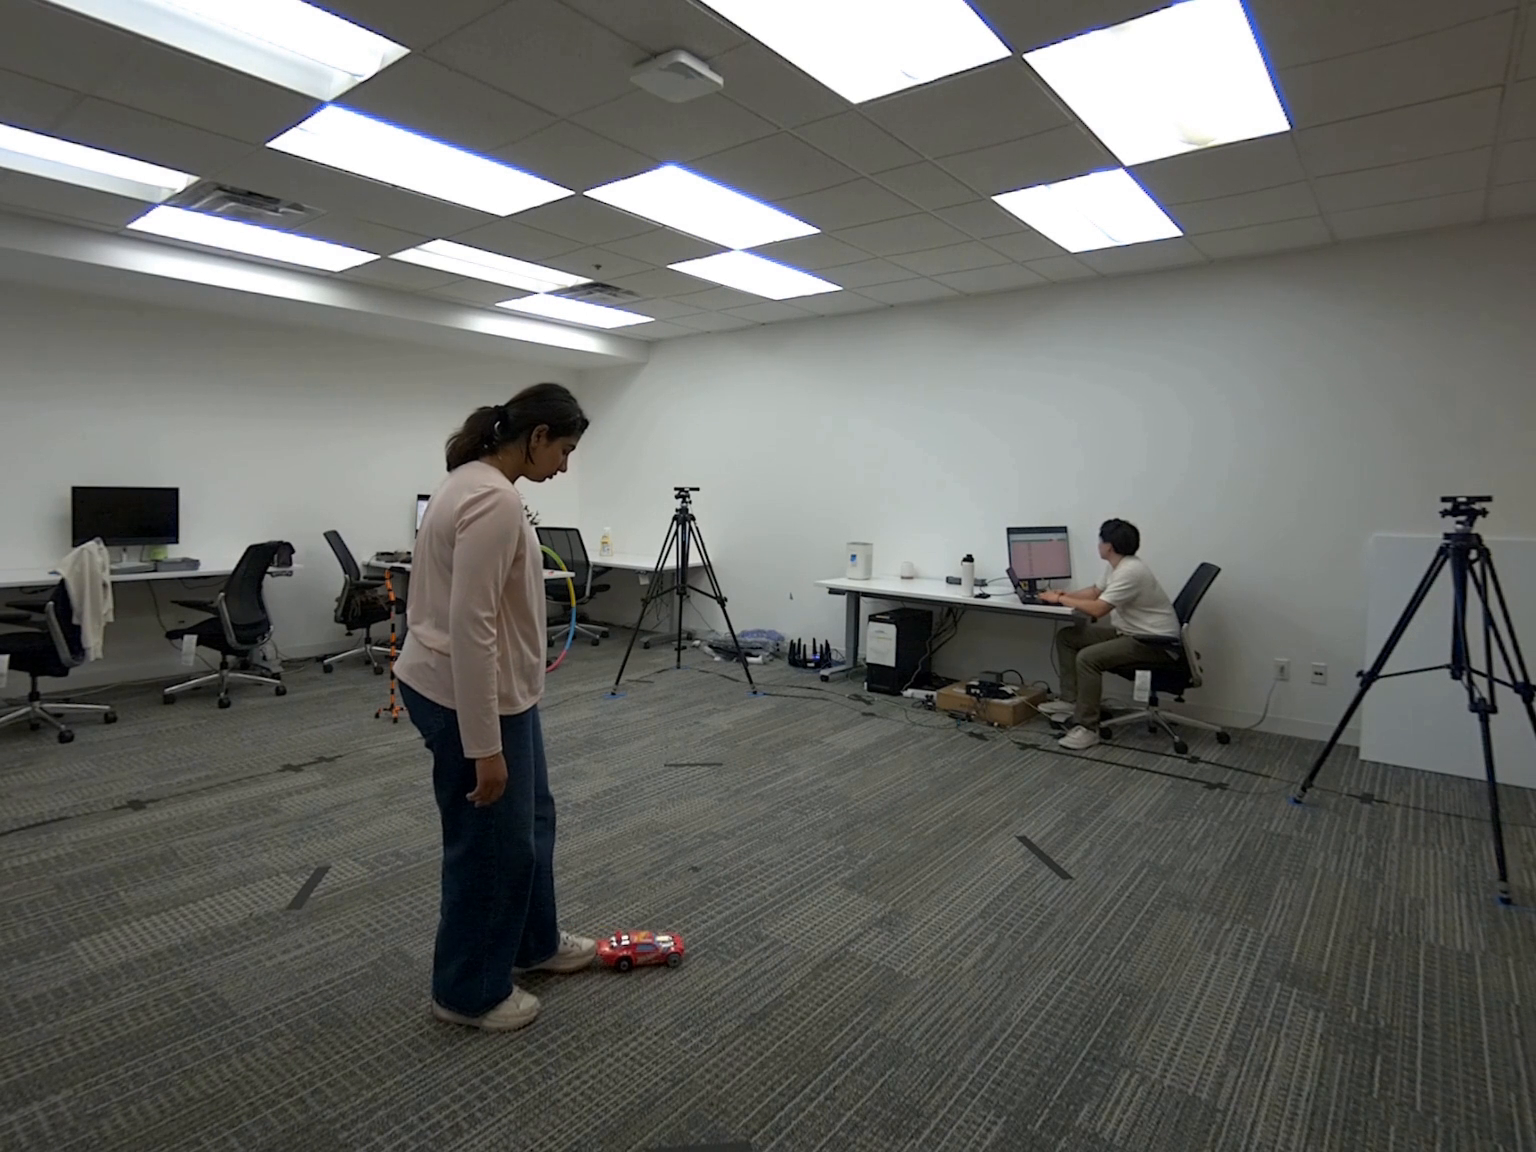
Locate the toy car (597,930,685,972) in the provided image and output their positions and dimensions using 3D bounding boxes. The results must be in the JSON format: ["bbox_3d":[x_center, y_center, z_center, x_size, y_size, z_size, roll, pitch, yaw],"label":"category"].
[{"bbox_3d":[-0.388,1.093,2.490,0.251,0.083,0.132,11,1,-13],"label":"toy car"}]
